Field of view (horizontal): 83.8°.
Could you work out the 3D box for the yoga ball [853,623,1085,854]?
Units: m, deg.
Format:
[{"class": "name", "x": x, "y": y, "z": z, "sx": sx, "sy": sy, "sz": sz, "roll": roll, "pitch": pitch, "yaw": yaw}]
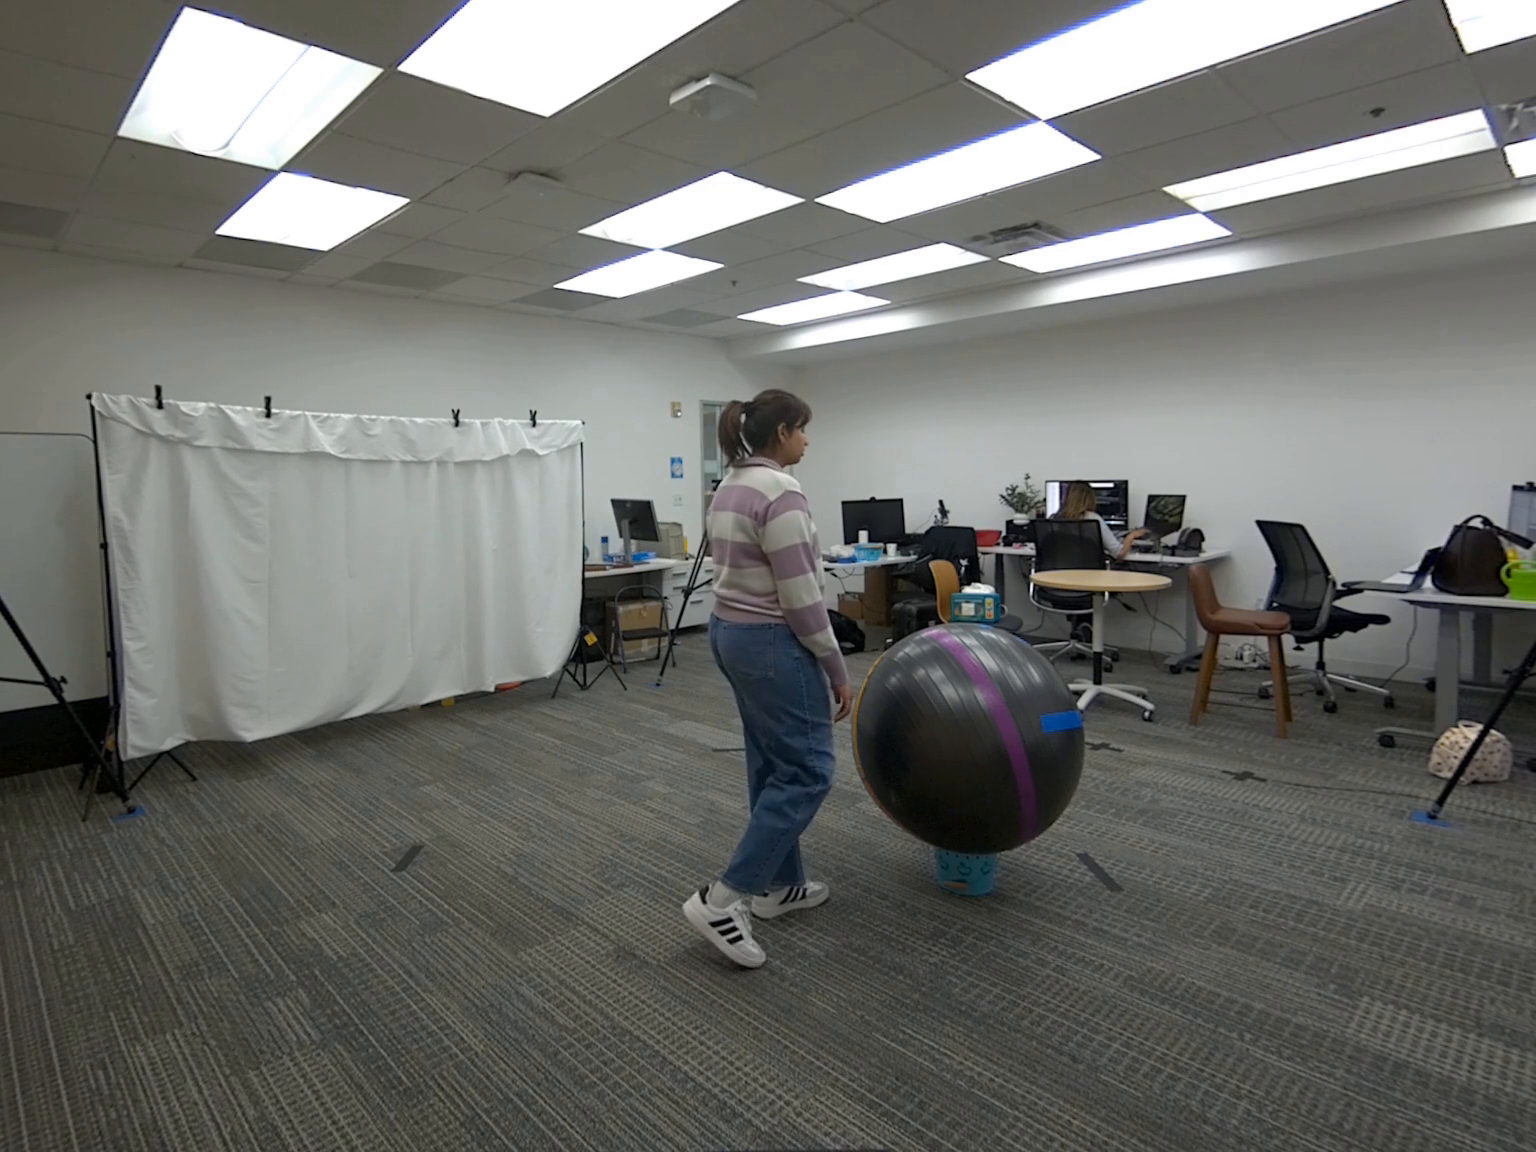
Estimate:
[{"class": "yoga ball", "x": 0.683, "y": 0.553, "z": 2.912, "sx": 0.757, "sy": 0.755, "sz": 0.762, "roll": -1, "pitch": 5, "yaw": -2}]
